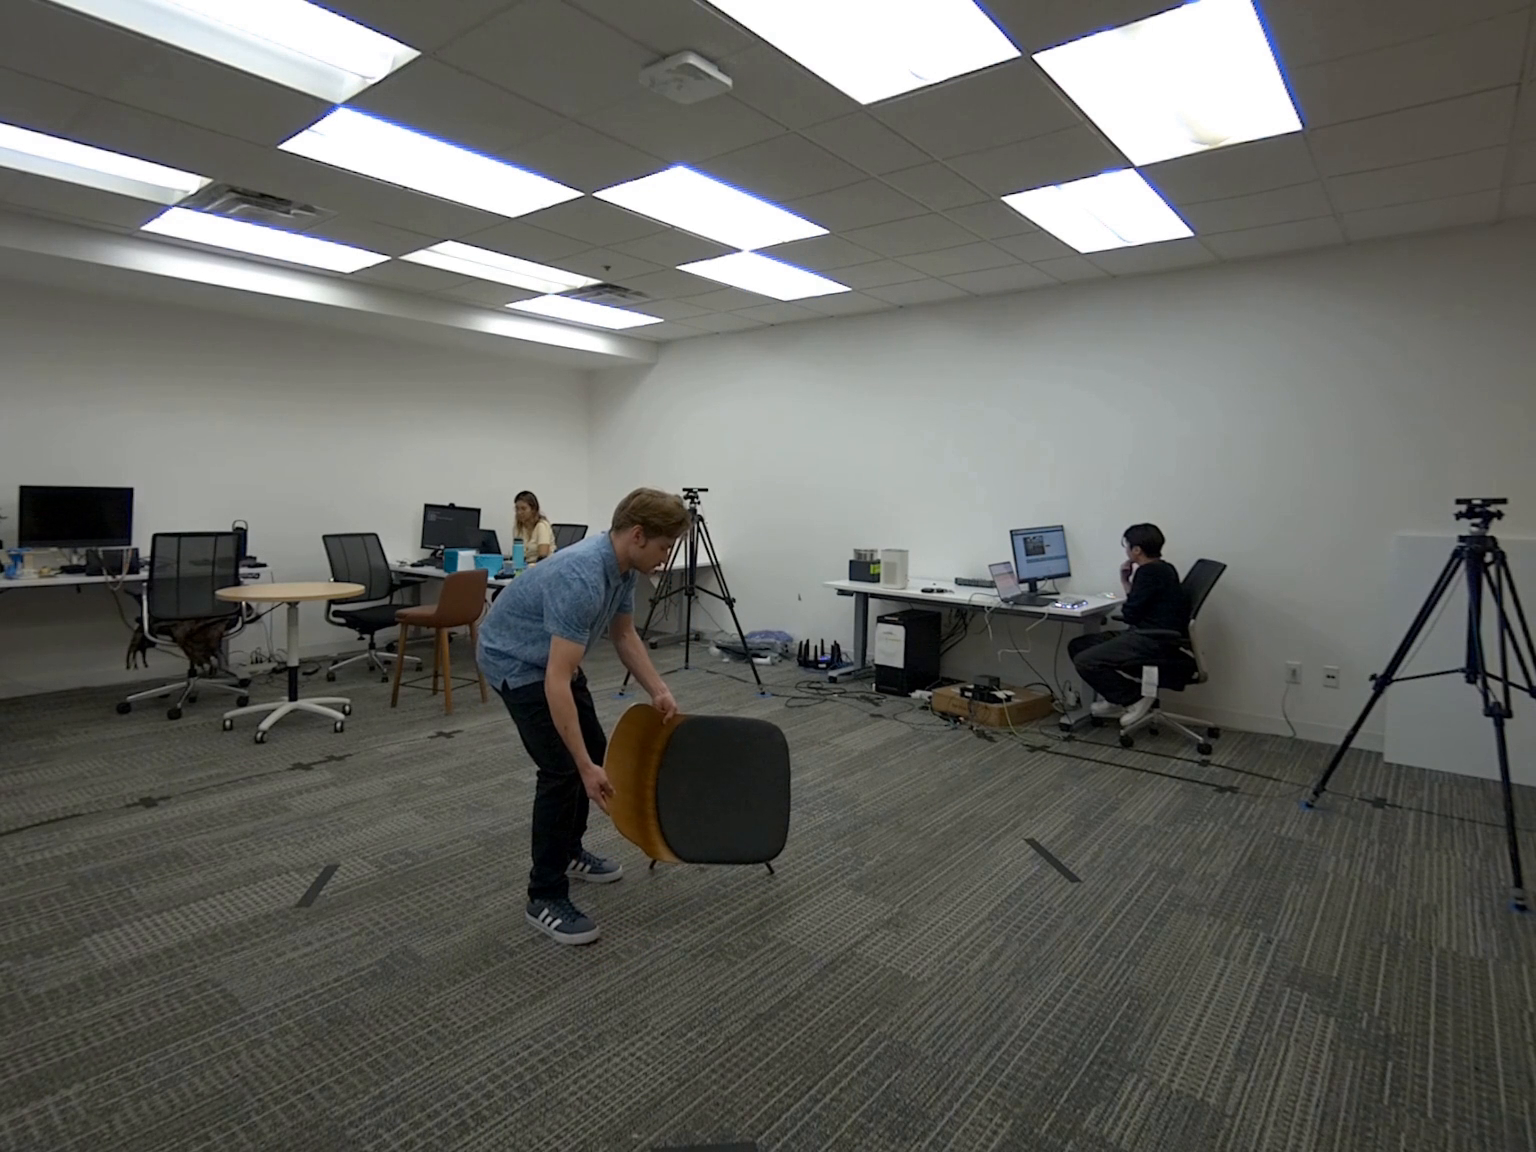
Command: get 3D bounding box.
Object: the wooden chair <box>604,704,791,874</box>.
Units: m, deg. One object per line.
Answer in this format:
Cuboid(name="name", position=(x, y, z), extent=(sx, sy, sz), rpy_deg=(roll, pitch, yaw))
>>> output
Cuboid(name="wooden chair", position=(-0.199, 0.710, 2.810), extent=(0.527, 0.488, 0.854), rpy_deg=(0, -23, 5))
